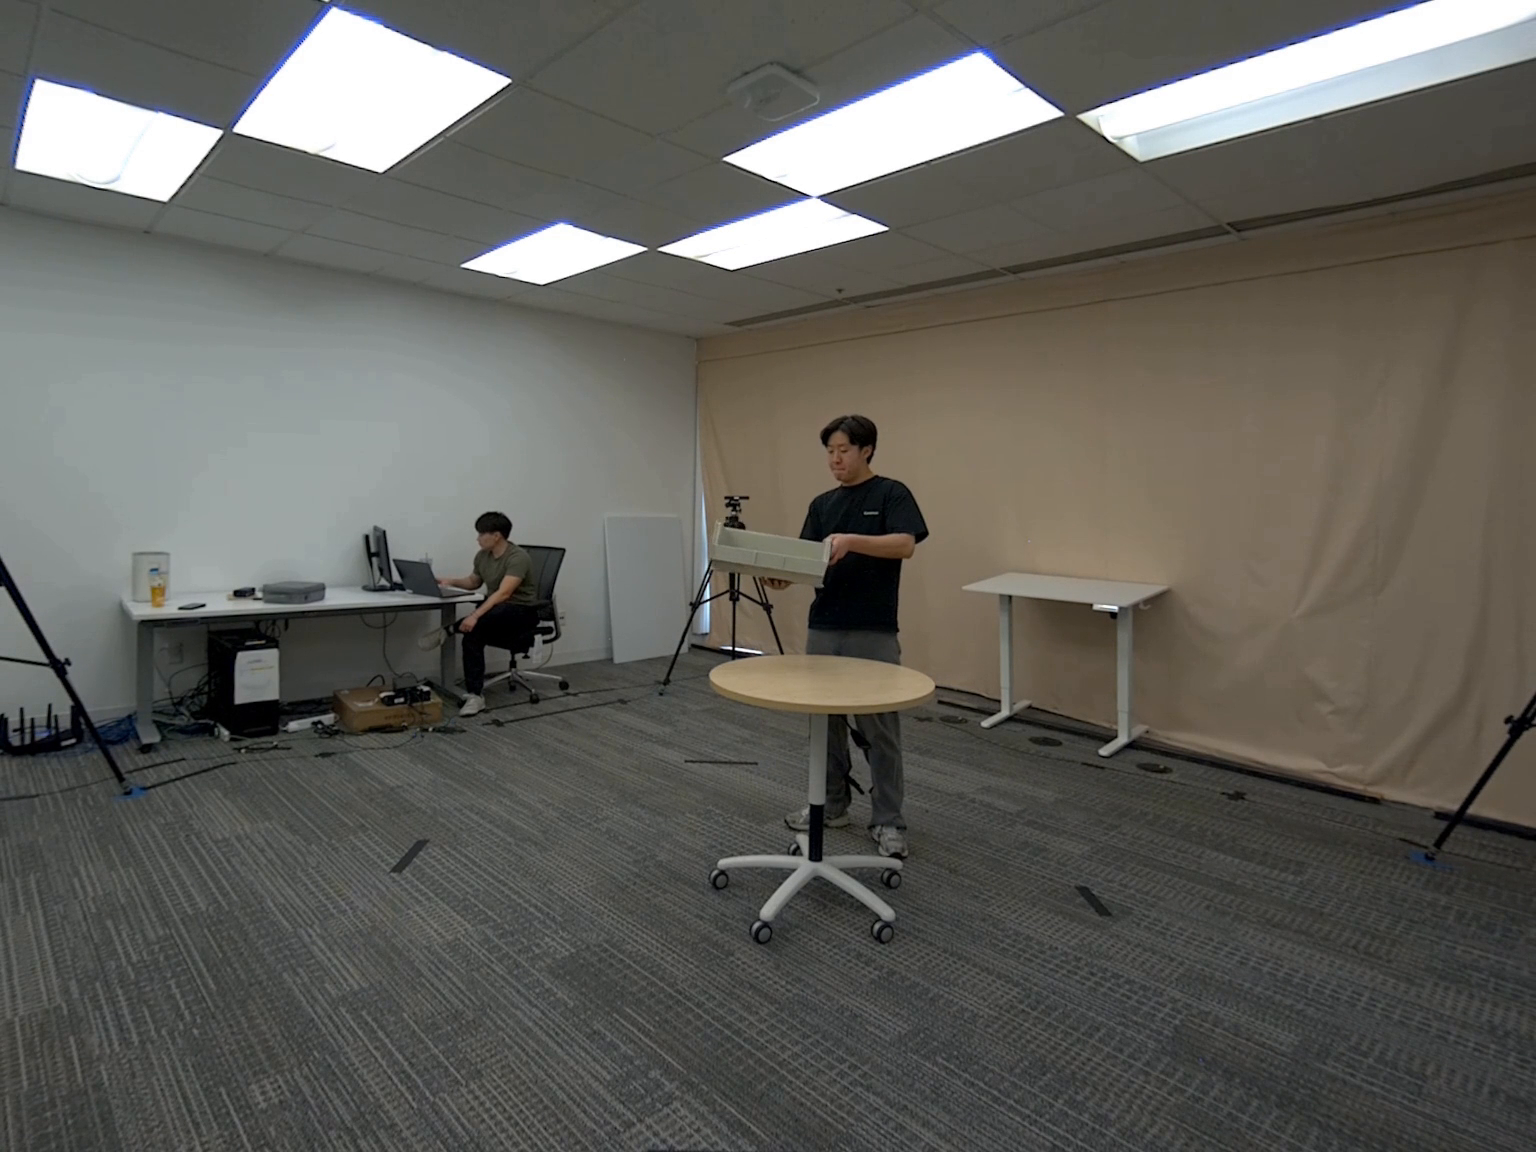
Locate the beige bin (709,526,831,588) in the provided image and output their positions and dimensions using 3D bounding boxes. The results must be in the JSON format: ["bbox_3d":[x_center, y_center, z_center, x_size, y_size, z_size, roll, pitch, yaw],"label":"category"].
[{"bbox_3d":[0.012,-0.079,3.163,0.423,0.189,0.376,8,-1,2],"label":"beige bin"}]
